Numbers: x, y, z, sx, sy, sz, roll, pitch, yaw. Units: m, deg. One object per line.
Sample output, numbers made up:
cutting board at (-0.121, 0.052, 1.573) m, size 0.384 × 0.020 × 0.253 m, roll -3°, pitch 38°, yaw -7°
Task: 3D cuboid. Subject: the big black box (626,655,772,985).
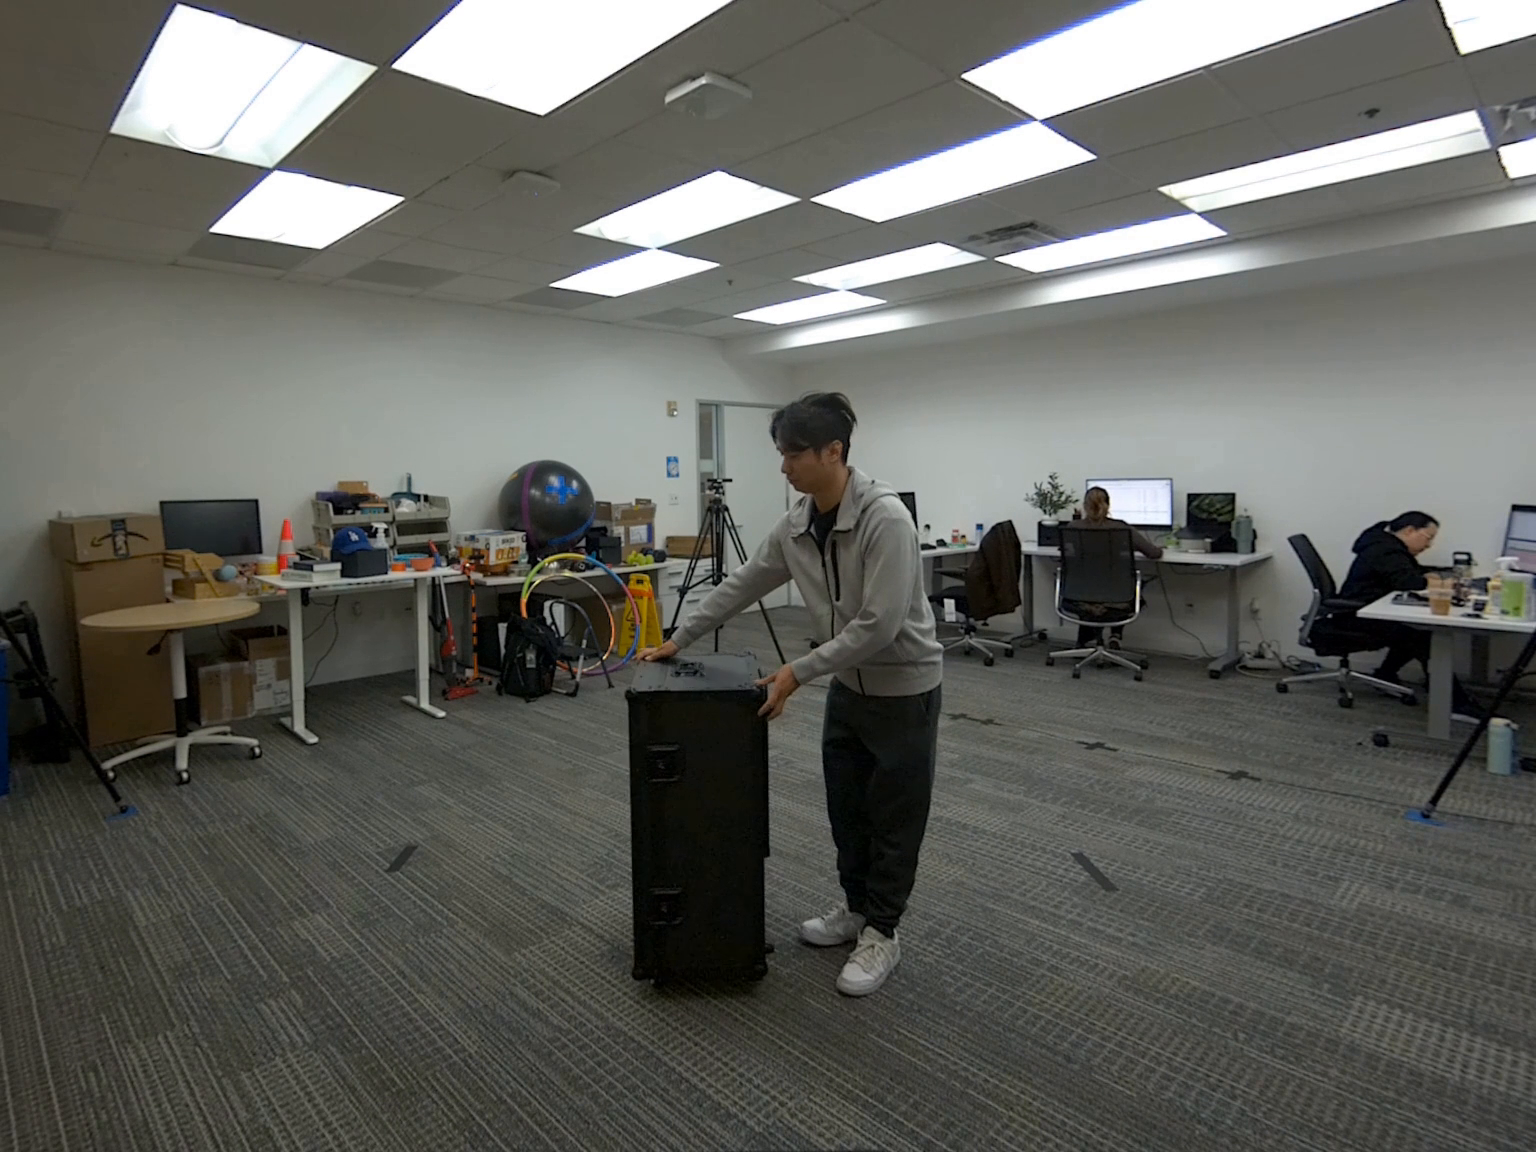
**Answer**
big black box at (-0.185, 0.693, 2.497) m, size 0.395 × 0.859 × 0.524 m, roll -1°, pitch 4°, yaw -3°
